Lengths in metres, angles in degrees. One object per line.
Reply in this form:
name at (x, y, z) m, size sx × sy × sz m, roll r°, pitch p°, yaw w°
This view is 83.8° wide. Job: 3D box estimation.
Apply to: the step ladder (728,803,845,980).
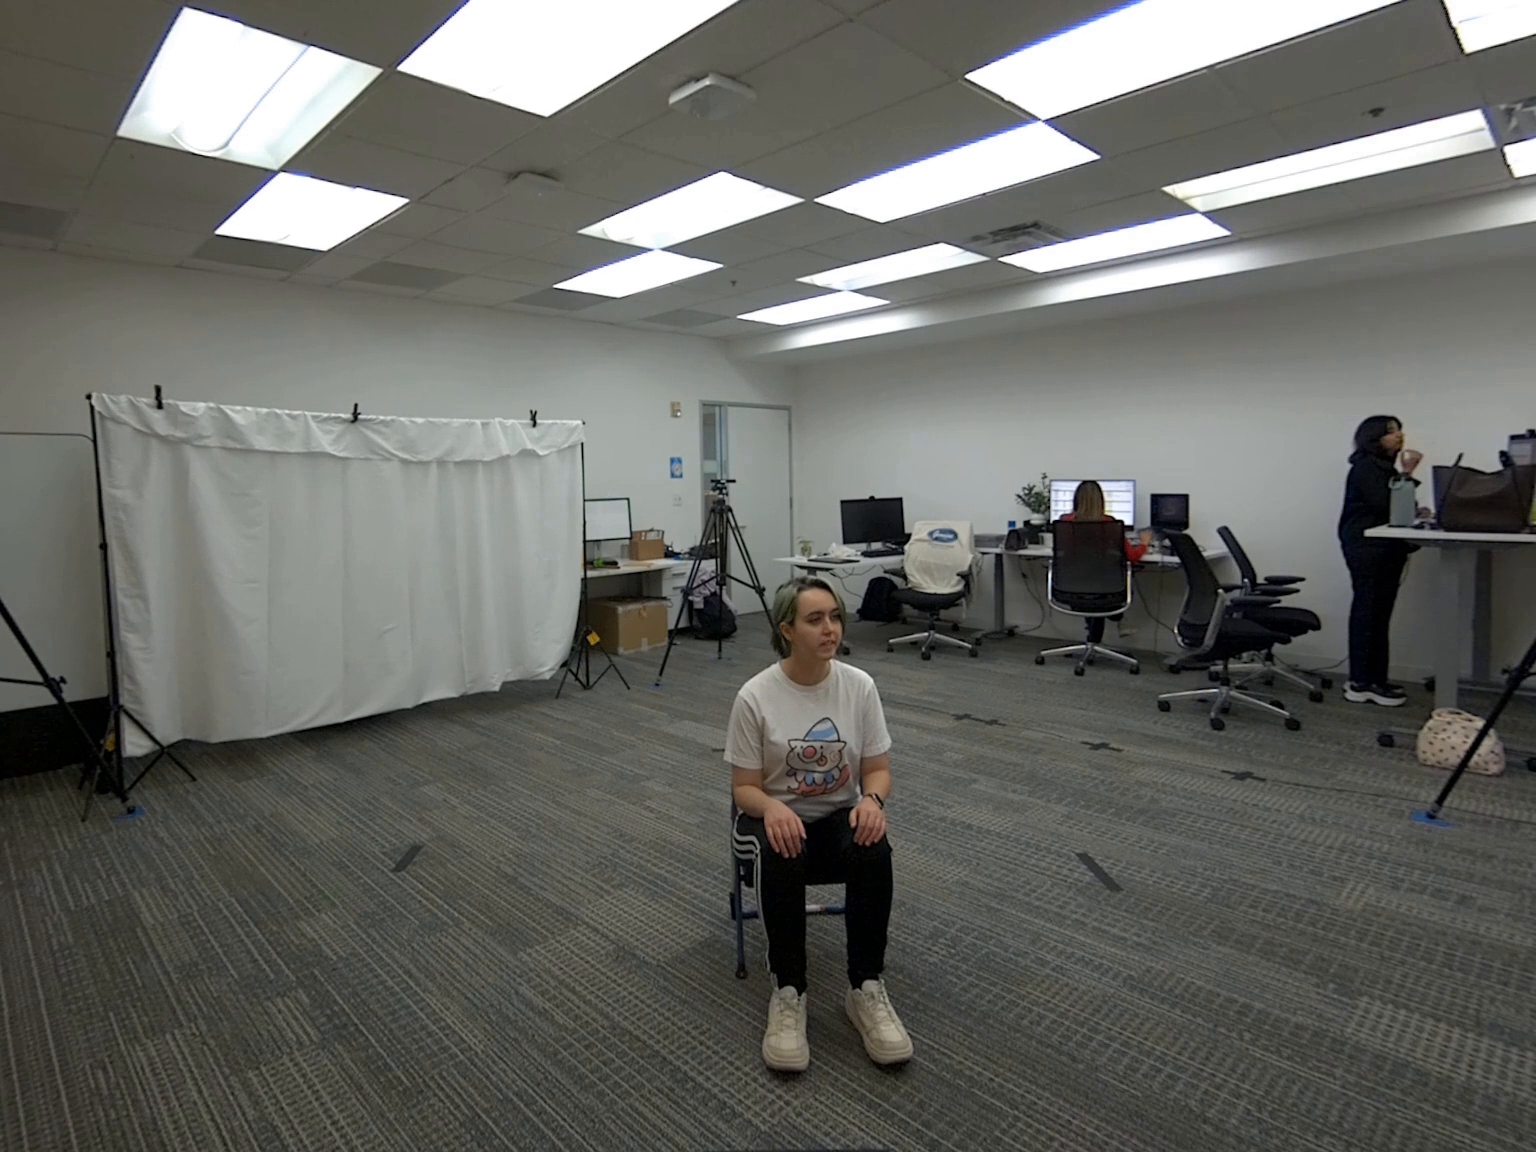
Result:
step ladder at (0.105, 0.811, 2.566) m, size 0.428 × 0.603 × 0.353 m, roll -2°, pitch 6°, yaw -6°
